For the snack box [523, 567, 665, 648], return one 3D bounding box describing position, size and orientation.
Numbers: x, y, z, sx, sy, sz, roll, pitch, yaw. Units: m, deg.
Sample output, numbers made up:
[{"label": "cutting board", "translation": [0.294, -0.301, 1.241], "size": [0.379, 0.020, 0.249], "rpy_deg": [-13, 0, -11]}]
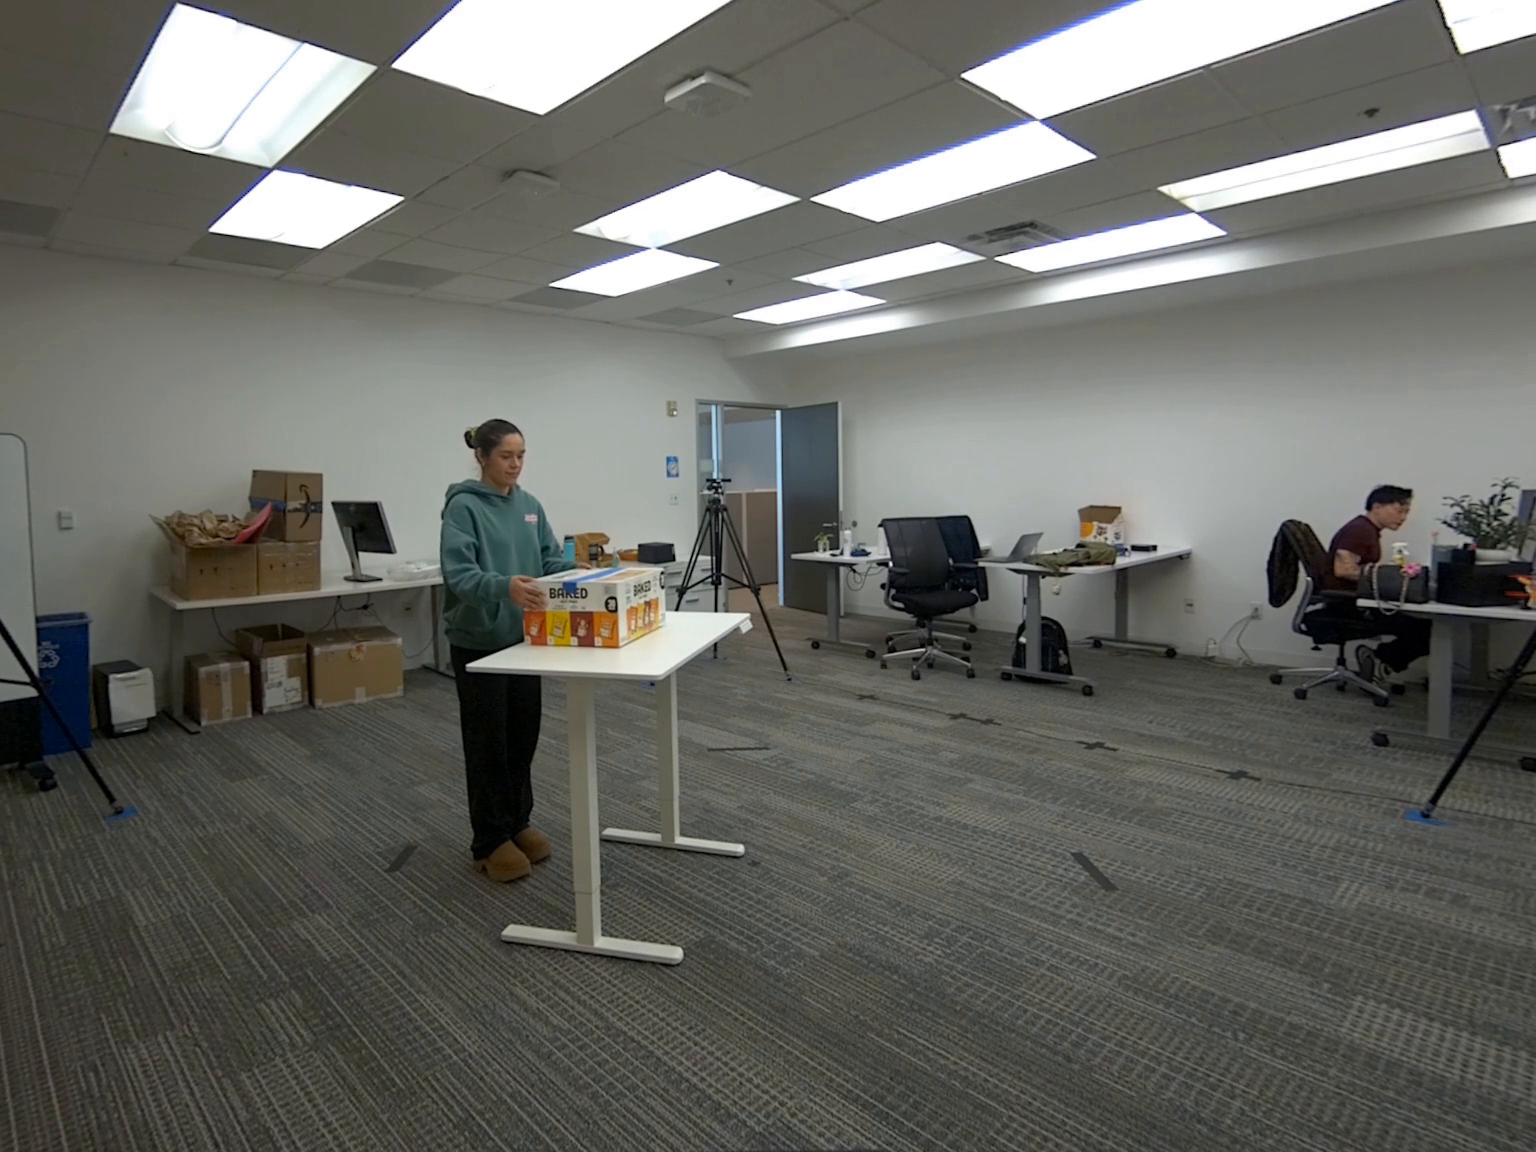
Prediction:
[{"label": "snack box", "translation": [-0.580, 0.095, 2.883], "size": [0.346, 0.205, 0.400], "rpy_deg": [0, 6, 17]}]
